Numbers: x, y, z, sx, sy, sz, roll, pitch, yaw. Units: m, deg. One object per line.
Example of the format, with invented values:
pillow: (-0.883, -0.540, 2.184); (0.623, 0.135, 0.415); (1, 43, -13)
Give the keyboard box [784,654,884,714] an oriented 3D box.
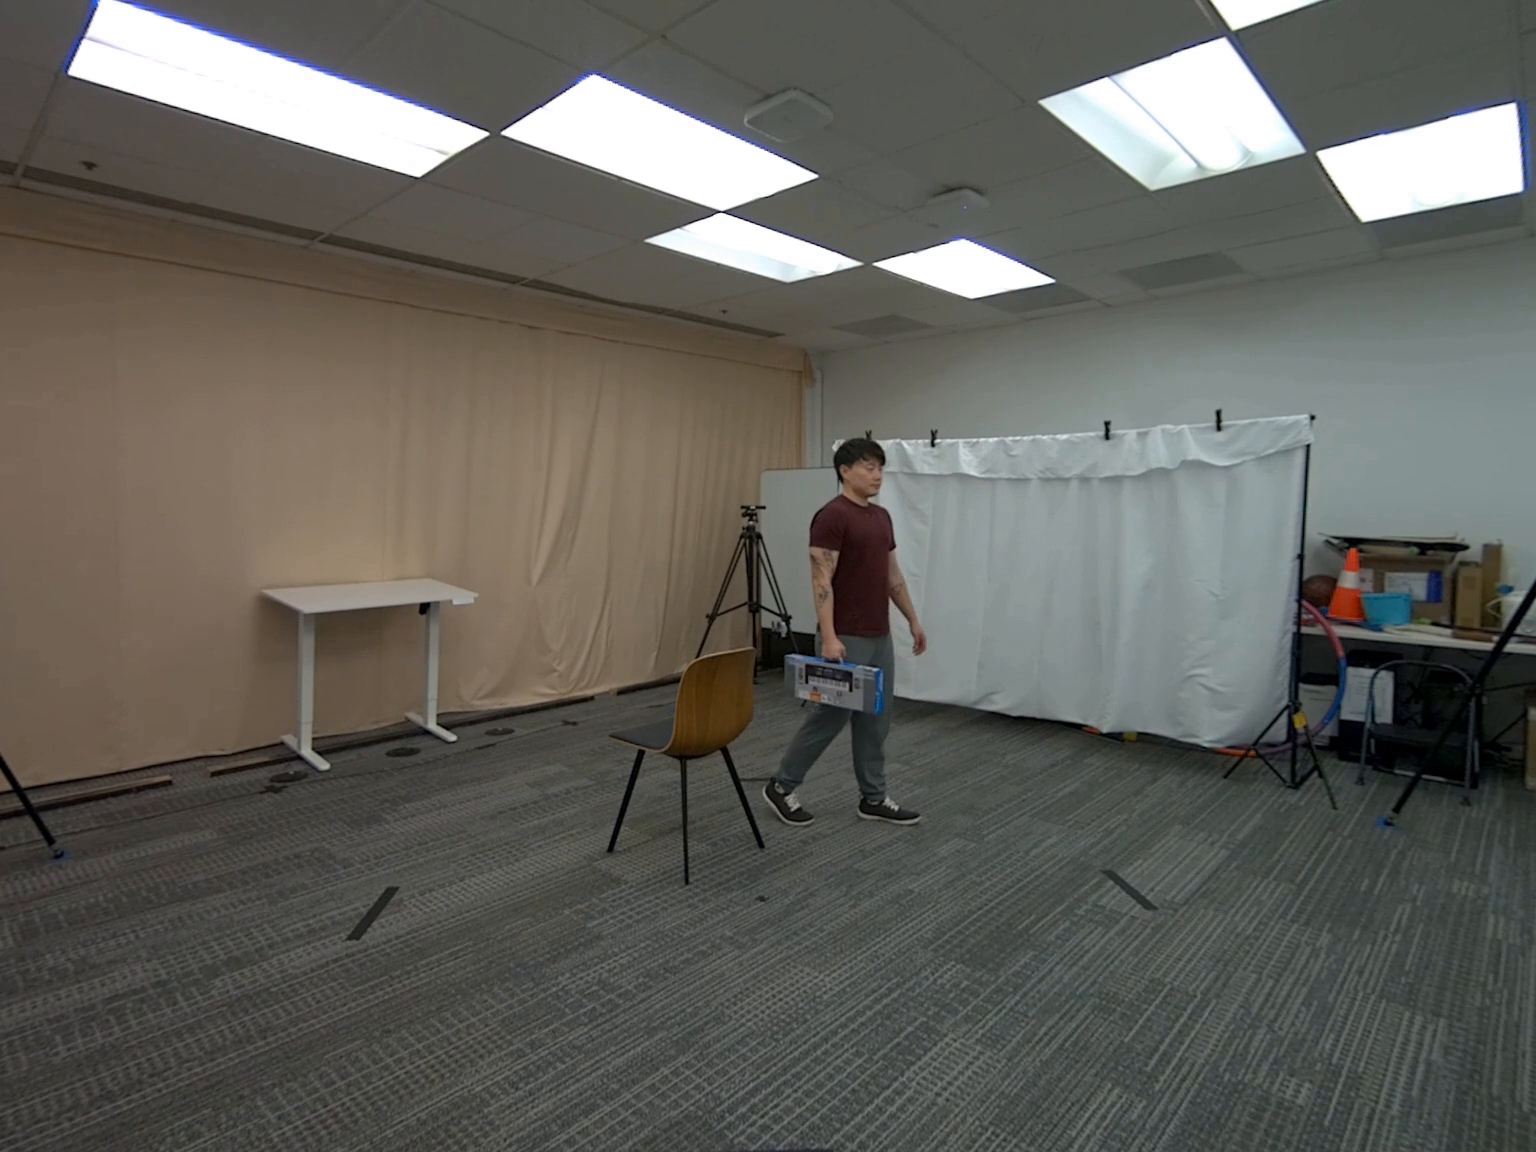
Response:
keyboard box: (0.267, 0.438, 3.452); (0.451, 0.175, 0.057); (4, 6, 38)
